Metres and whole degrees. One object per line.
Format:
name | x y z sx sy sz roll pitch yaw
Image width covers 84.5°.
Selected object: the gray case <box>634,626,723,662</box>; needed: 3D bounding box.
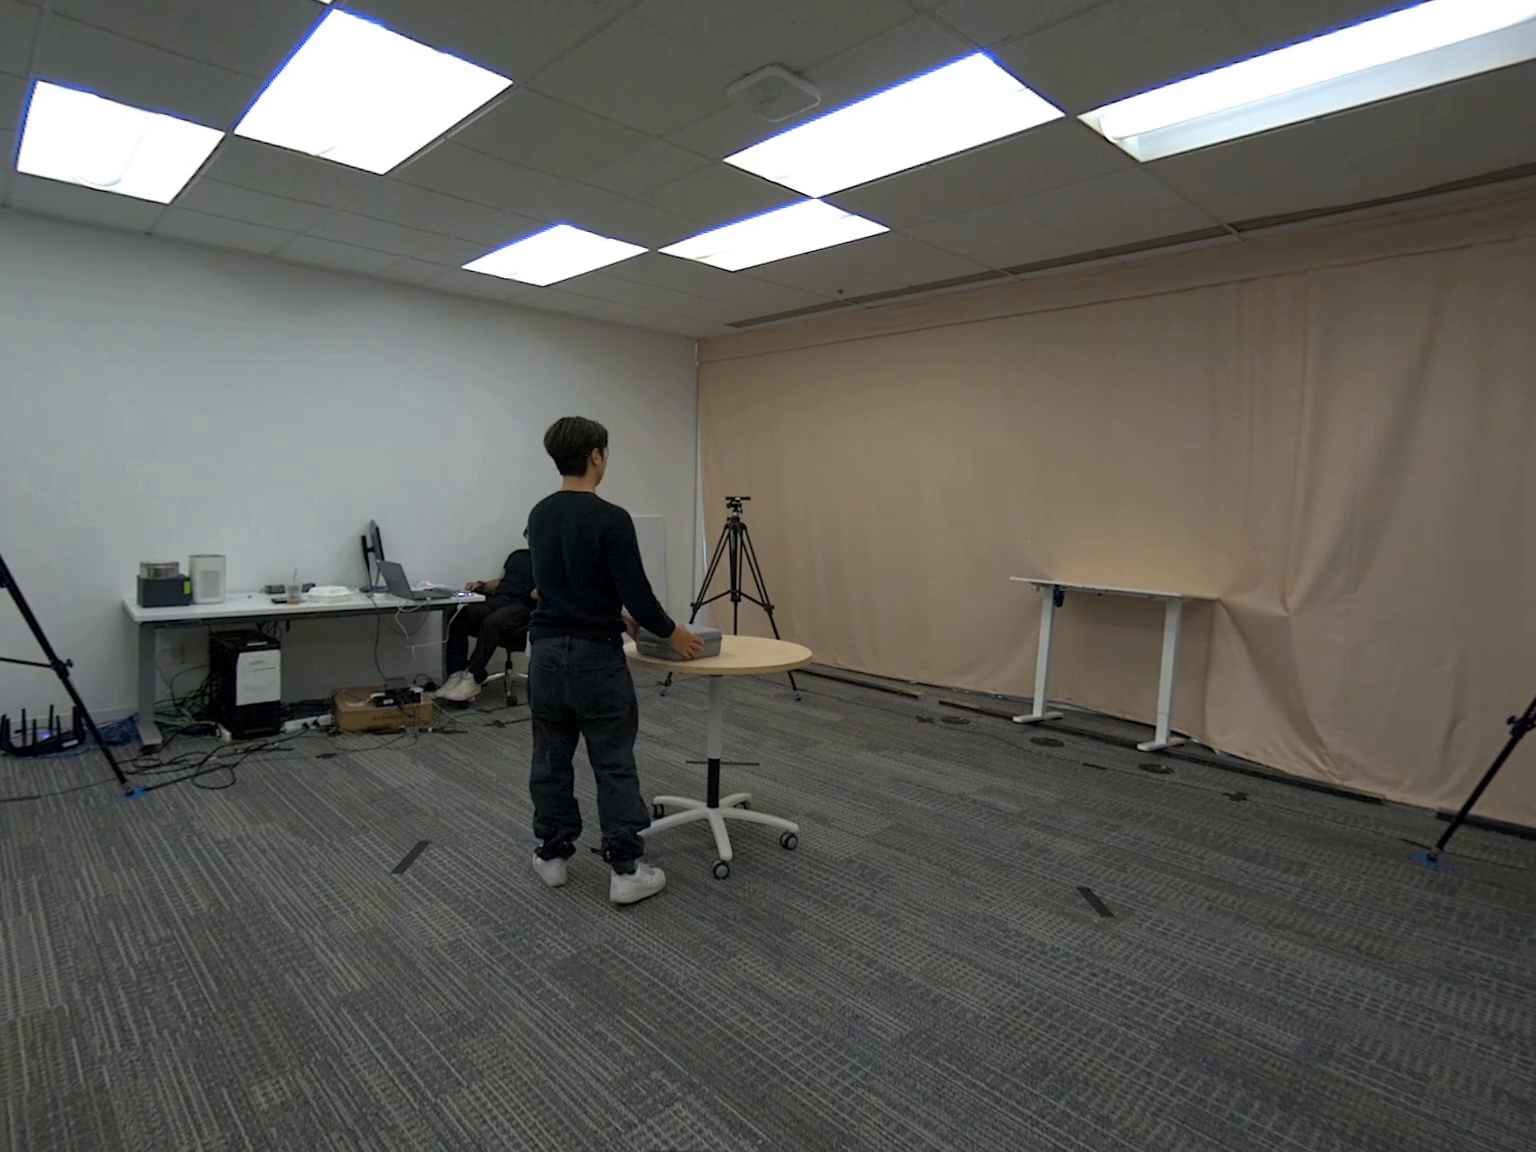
gray case | -0.351 0.254 3.256 0.263 0.104 0.255 7 7 41
